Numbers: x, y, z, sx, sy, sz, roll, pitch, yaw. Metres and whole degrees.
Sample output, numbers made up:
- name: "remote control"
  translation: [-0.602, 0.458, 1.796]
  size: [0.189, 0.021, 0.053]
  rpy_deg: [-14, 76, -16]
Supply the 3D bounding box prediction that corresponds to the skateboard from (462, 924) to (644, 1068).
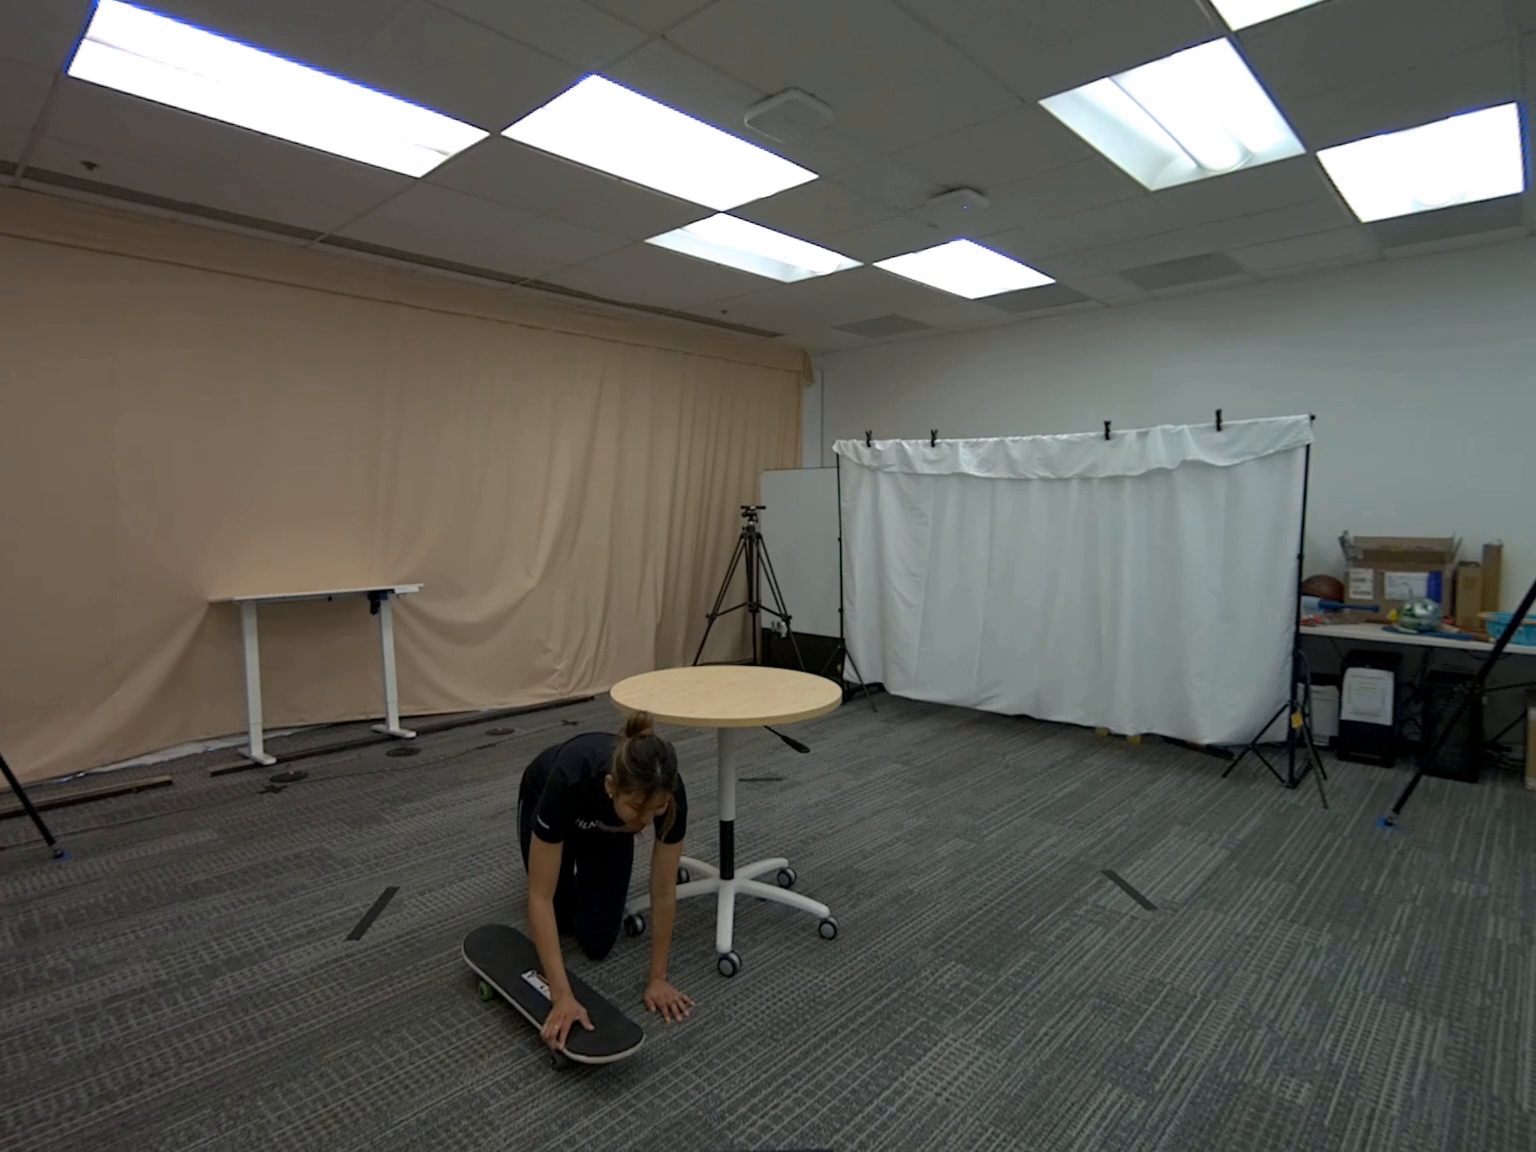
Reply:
- name: "skateboard"
  translation: [-0.603, 1.149, 2.279]
  size: [0.187, 0.110, 0.812]
  rpy_deg: [-4, 6, -43]
